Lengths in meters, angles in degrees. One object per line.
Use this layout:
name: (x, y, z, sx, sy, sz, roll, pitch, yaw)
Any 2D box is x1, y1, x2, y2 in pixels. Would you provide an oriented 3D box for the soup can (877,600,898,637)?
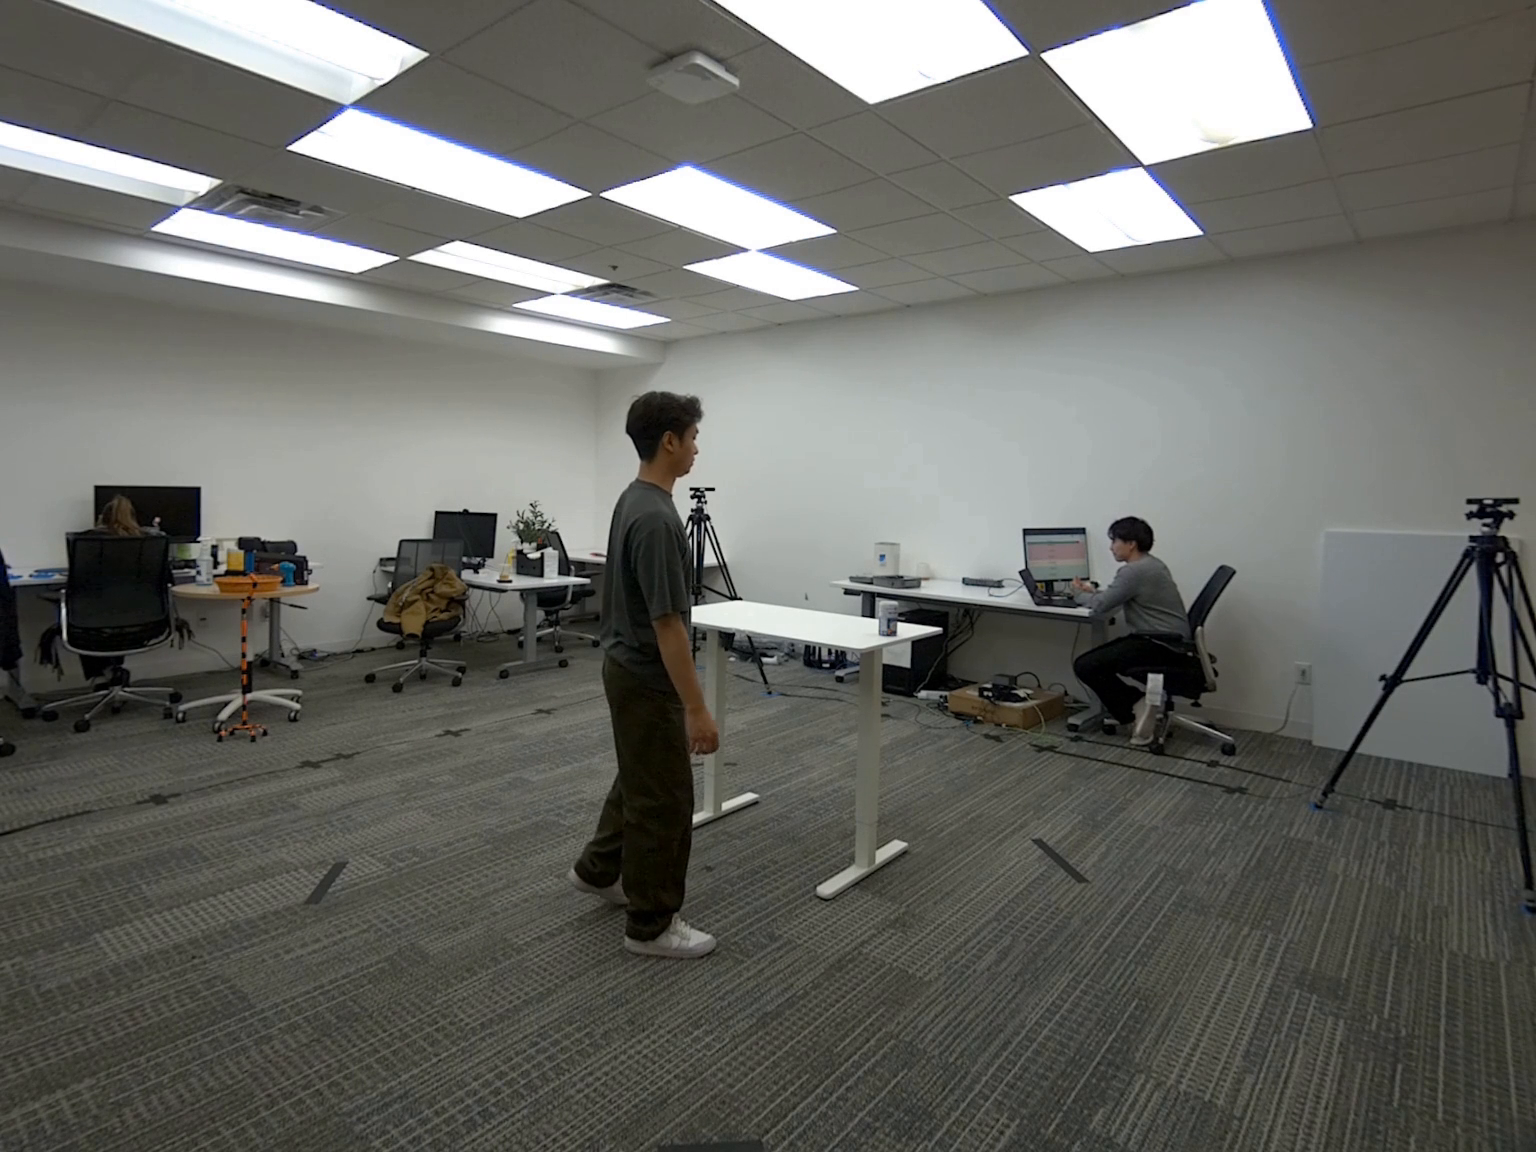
soup can: (0.423, 0.152, 3.029, 0.067, 0.121, 0.067, 2, 6, -2)
